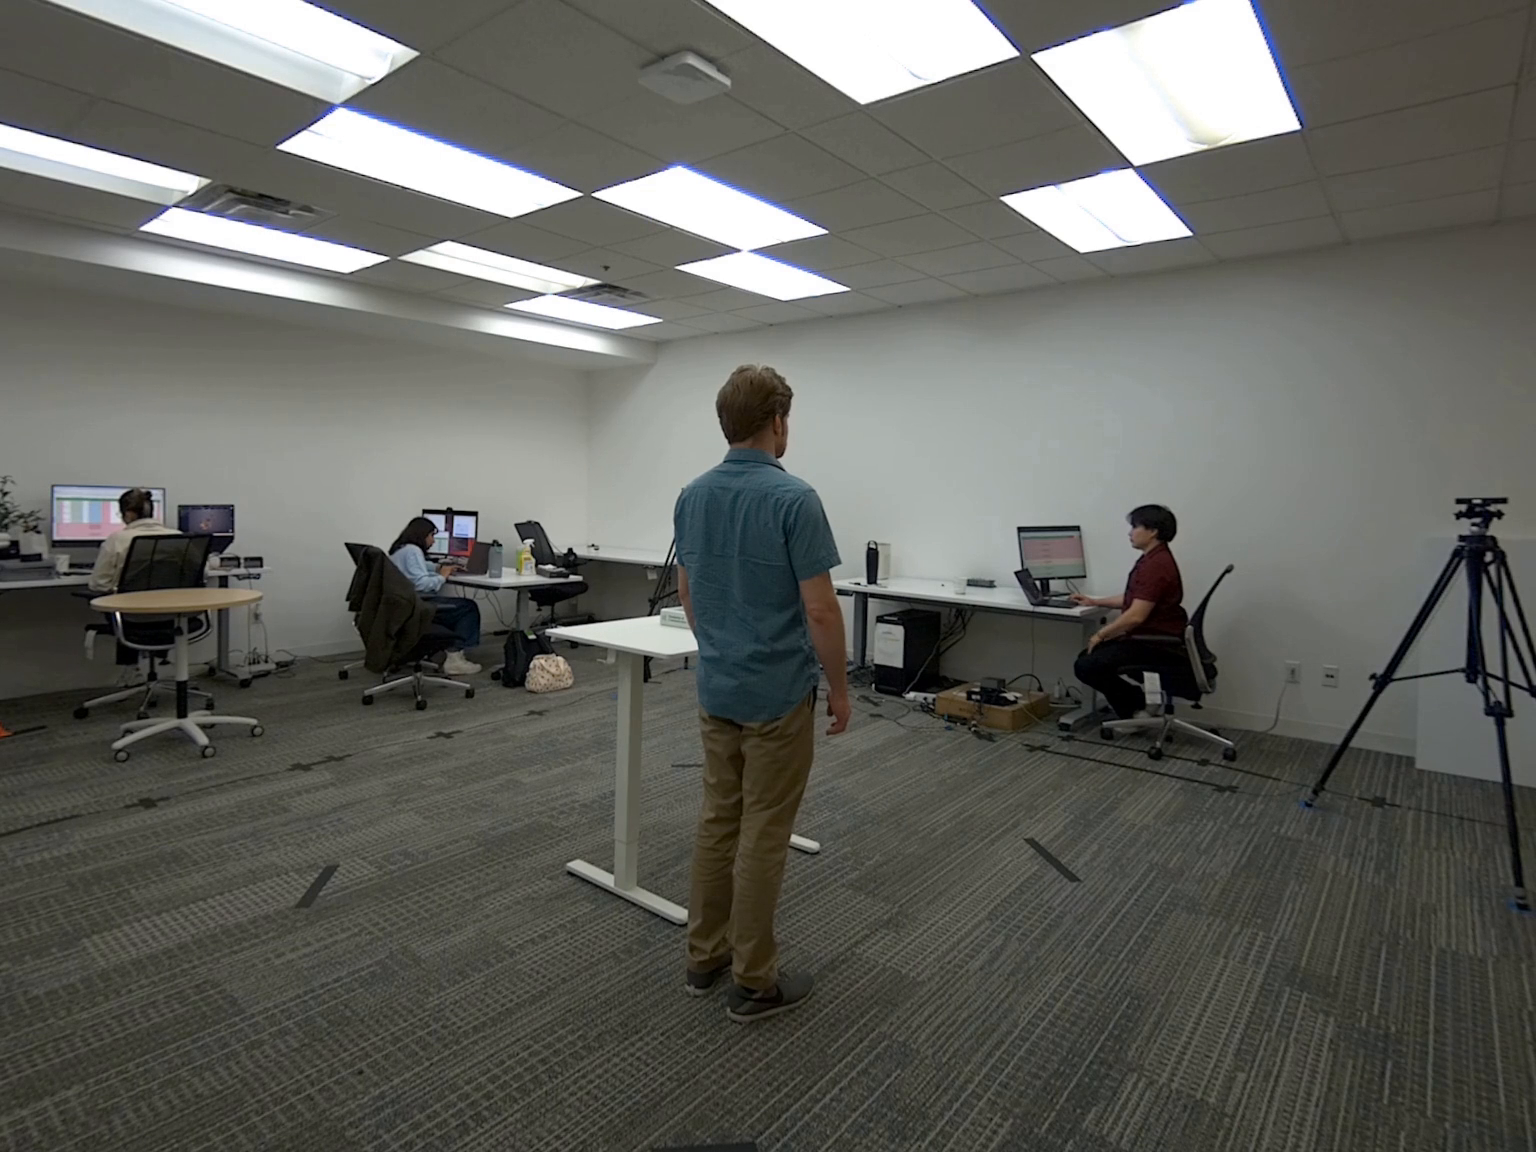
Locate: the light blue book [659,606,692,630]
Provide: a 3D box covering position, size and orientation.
[{"bbox_3d":[-0.247,0.154,3.138,0.269,0.059,0.186,5,7,36],"label":"light blue book"}]
